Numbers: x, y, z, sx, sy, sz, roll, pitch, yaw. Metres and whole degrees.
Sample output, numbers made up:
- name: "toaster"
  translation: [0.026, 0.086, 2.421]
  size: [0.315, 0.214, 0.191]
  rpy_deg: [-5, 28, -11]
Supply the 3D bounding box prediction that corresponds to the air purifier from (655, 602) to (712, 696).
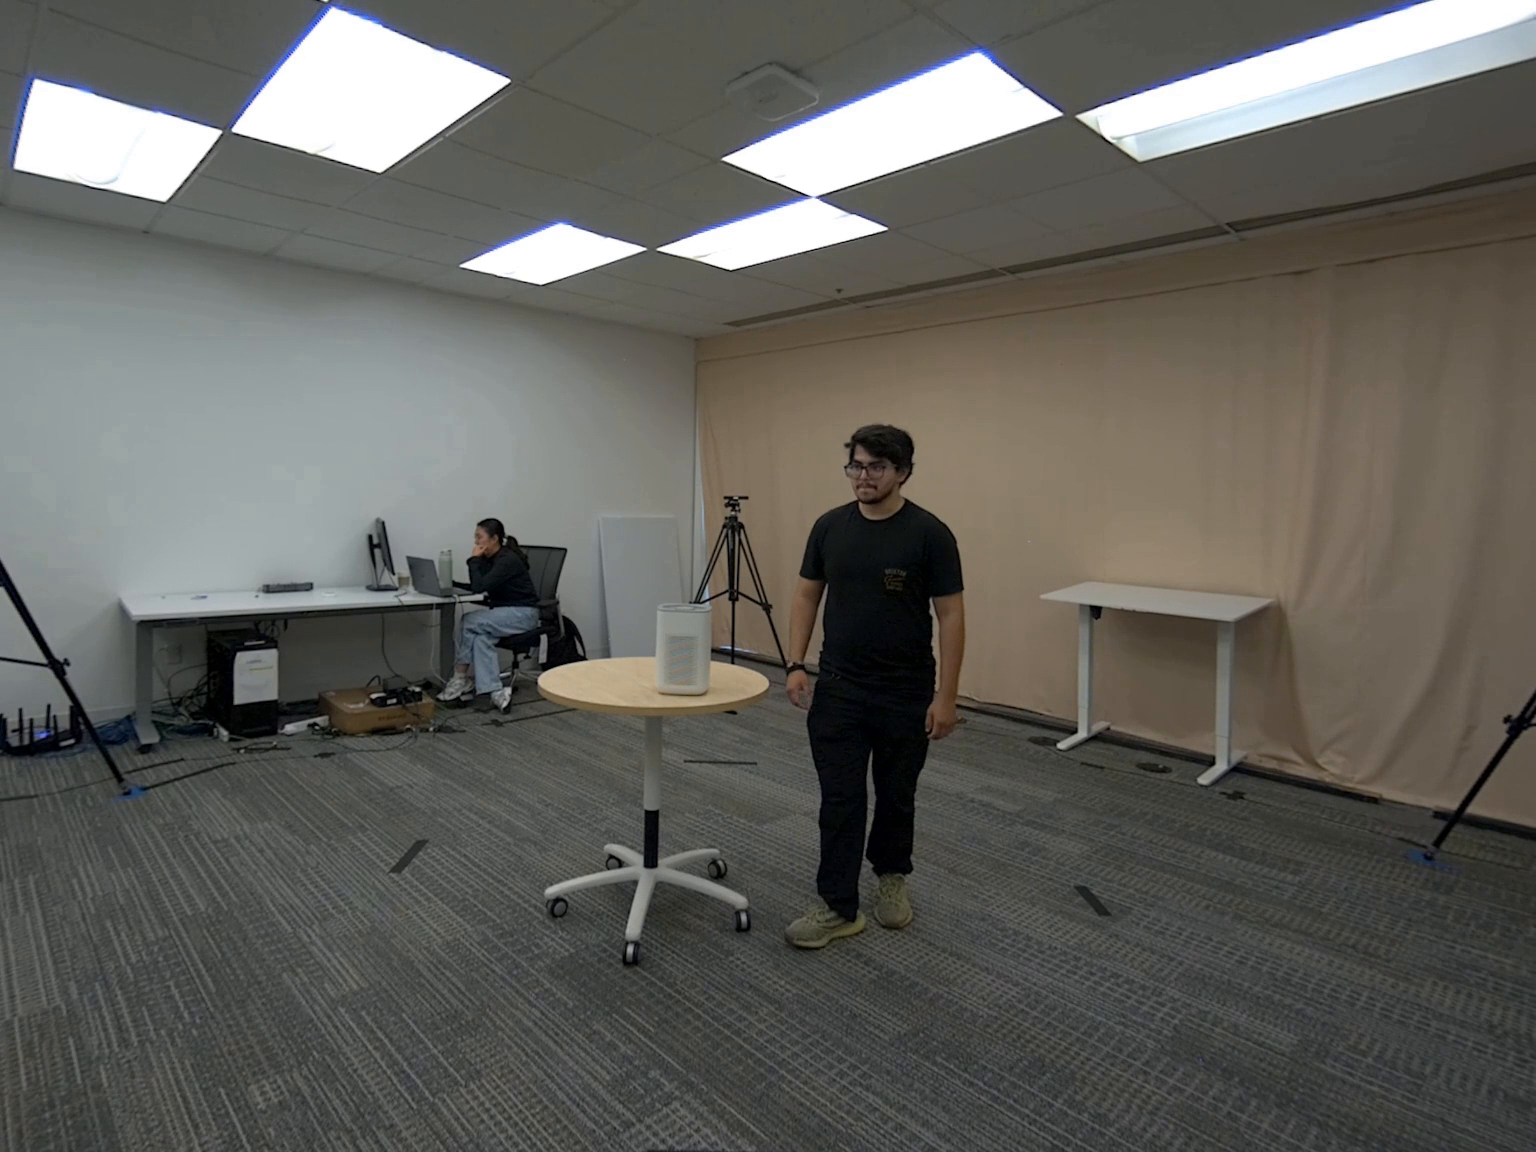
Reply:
- name: "air purifier"
  translation: [-0.267, 0.226, 2.650]
  size: [0.172, 0.265, 0.171]
  rpy_deg: [2, 1, 1]
